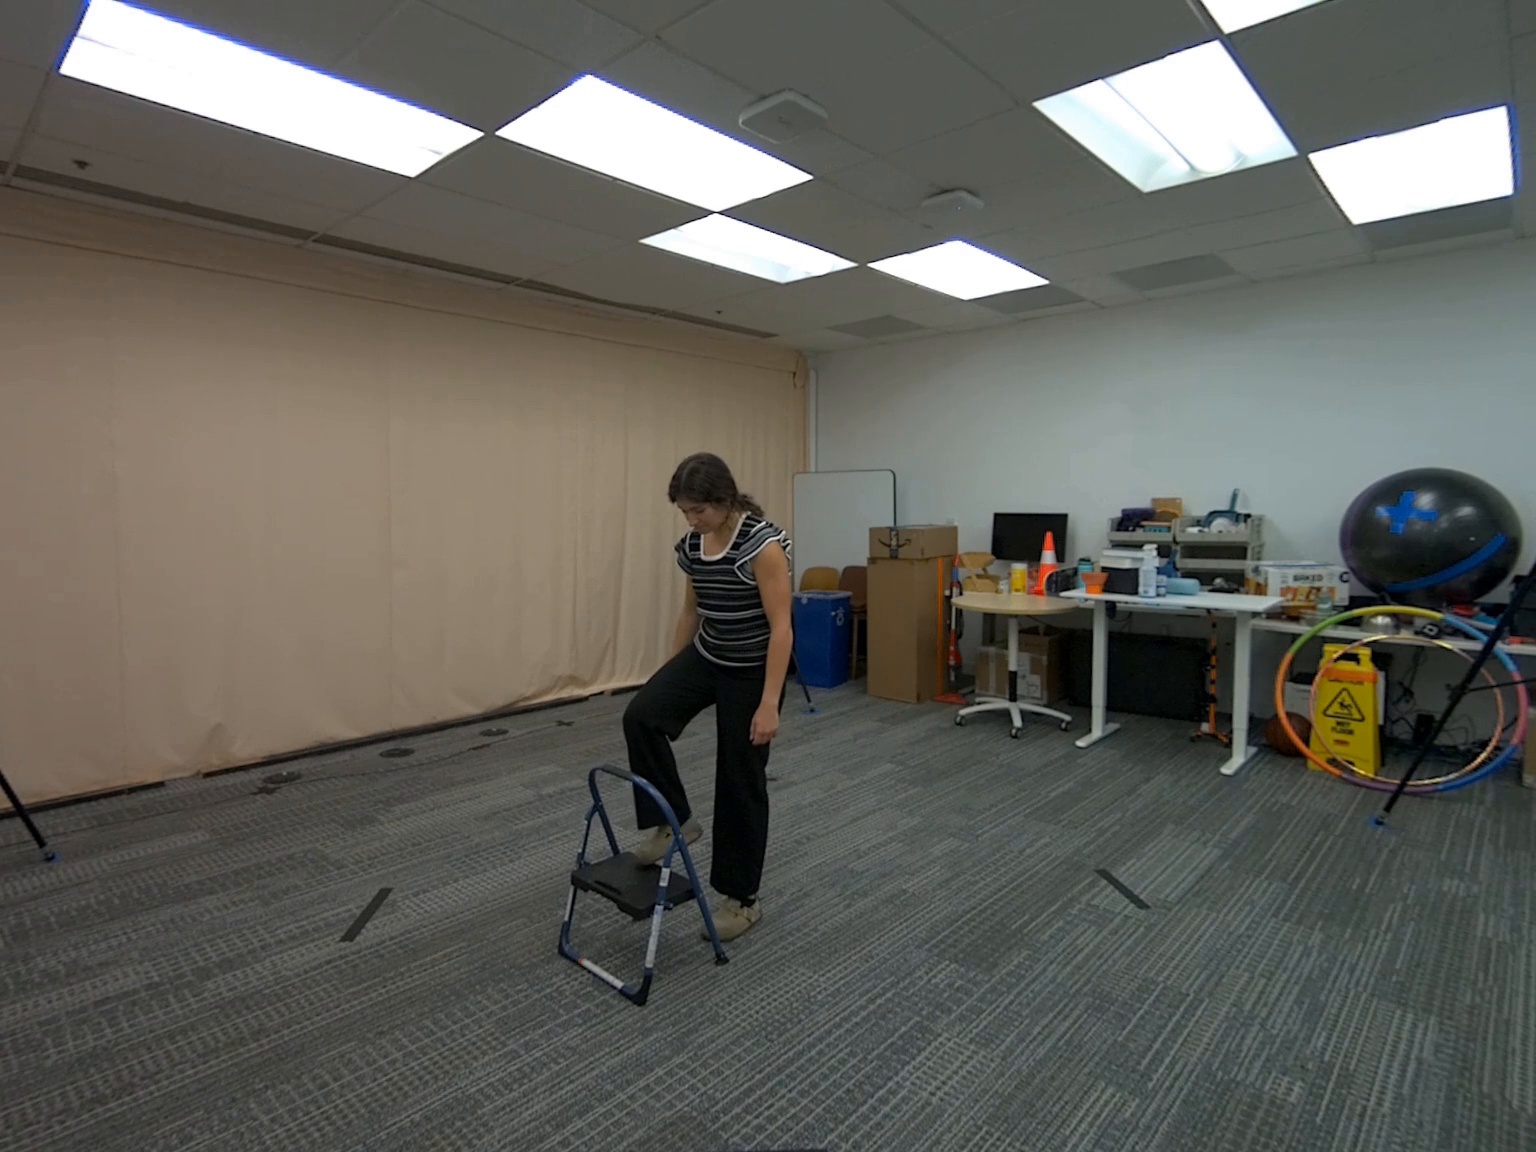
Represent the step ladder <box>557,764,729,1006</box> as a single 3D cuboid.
[{"bbox_3d":[-0.393,0.878,2.586,0.445,0.605,0.338,2,4,43],"label":"step ladder"}]
